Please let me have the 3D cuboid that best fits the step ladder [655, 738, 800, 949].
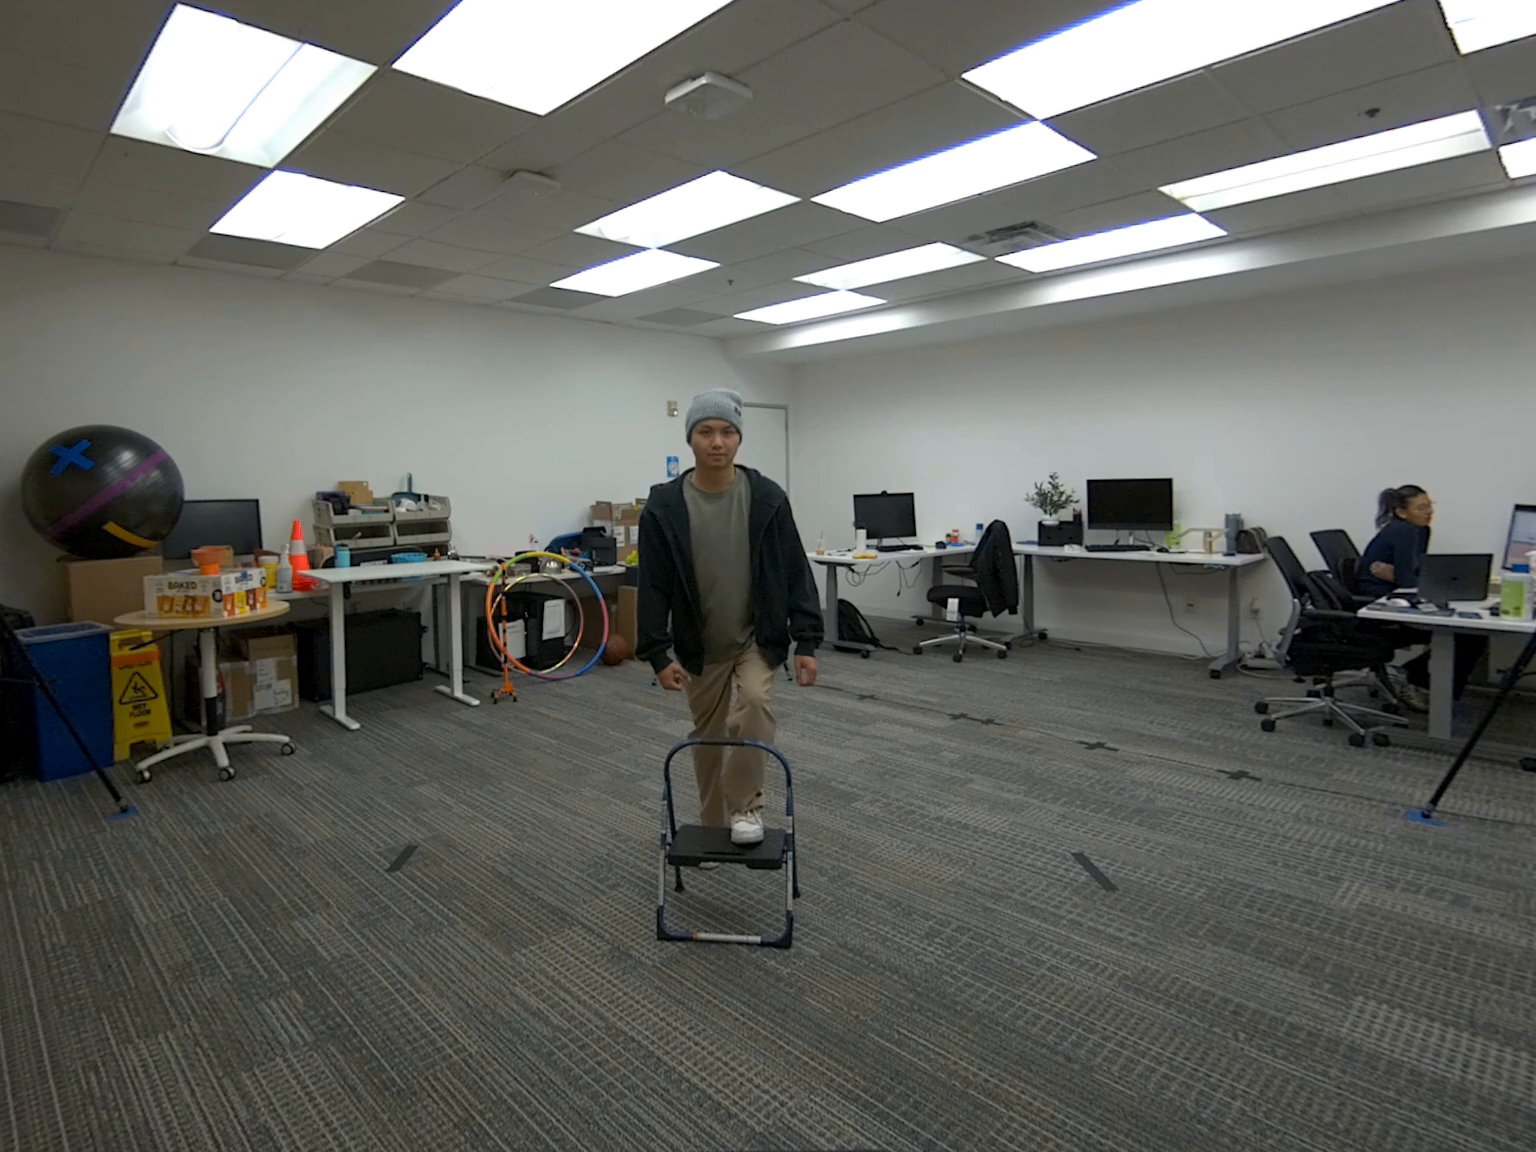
[{"bbox_3d":[-0.120,0.794,2.719,0.434,0.604,0.348,0,4,7],"label":"step ladder"}]
